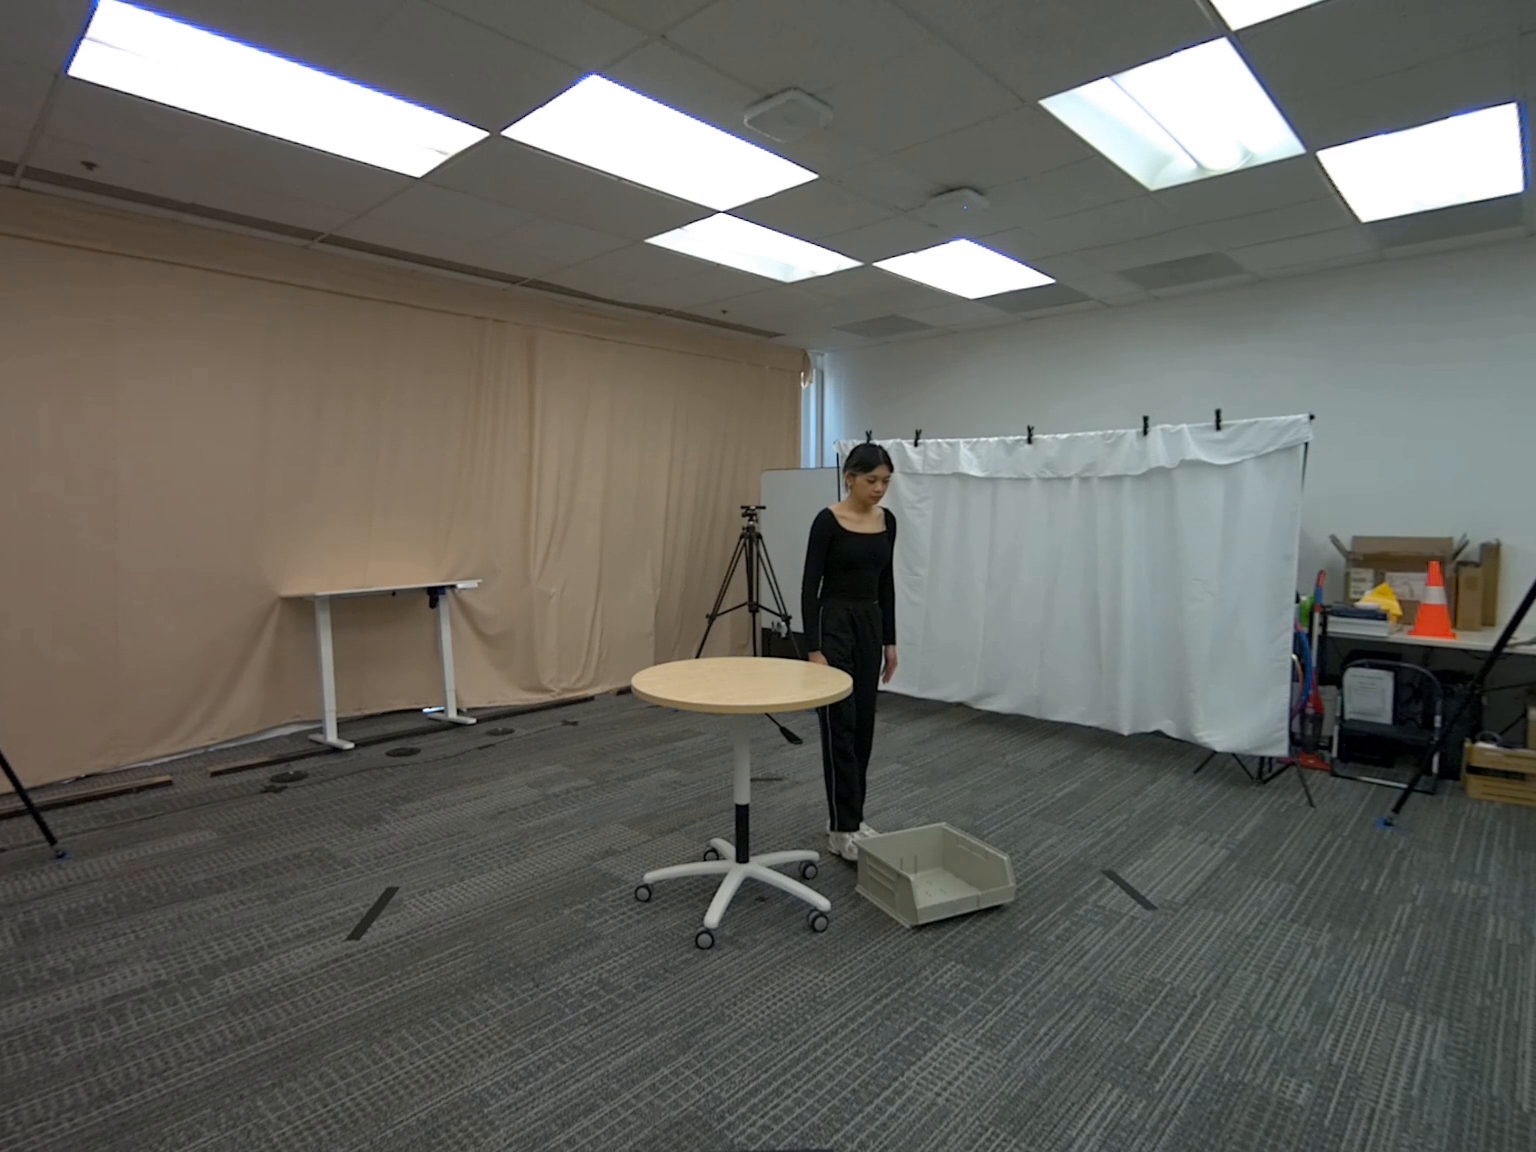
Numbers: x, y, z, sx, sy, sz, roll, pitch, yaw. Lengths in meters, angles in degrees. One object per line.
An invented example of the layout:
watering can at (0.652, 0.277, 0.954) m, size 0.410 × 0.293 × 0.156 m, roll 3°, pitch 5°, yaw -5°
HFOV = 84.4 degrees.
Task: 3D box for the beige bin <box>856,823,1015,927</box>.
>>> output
beige bin at (0.582, 1.054, 2.973) m, size 0.412 × 0.188 × 0.388 m, roll -3°, pitch 5°, yaw -27°
